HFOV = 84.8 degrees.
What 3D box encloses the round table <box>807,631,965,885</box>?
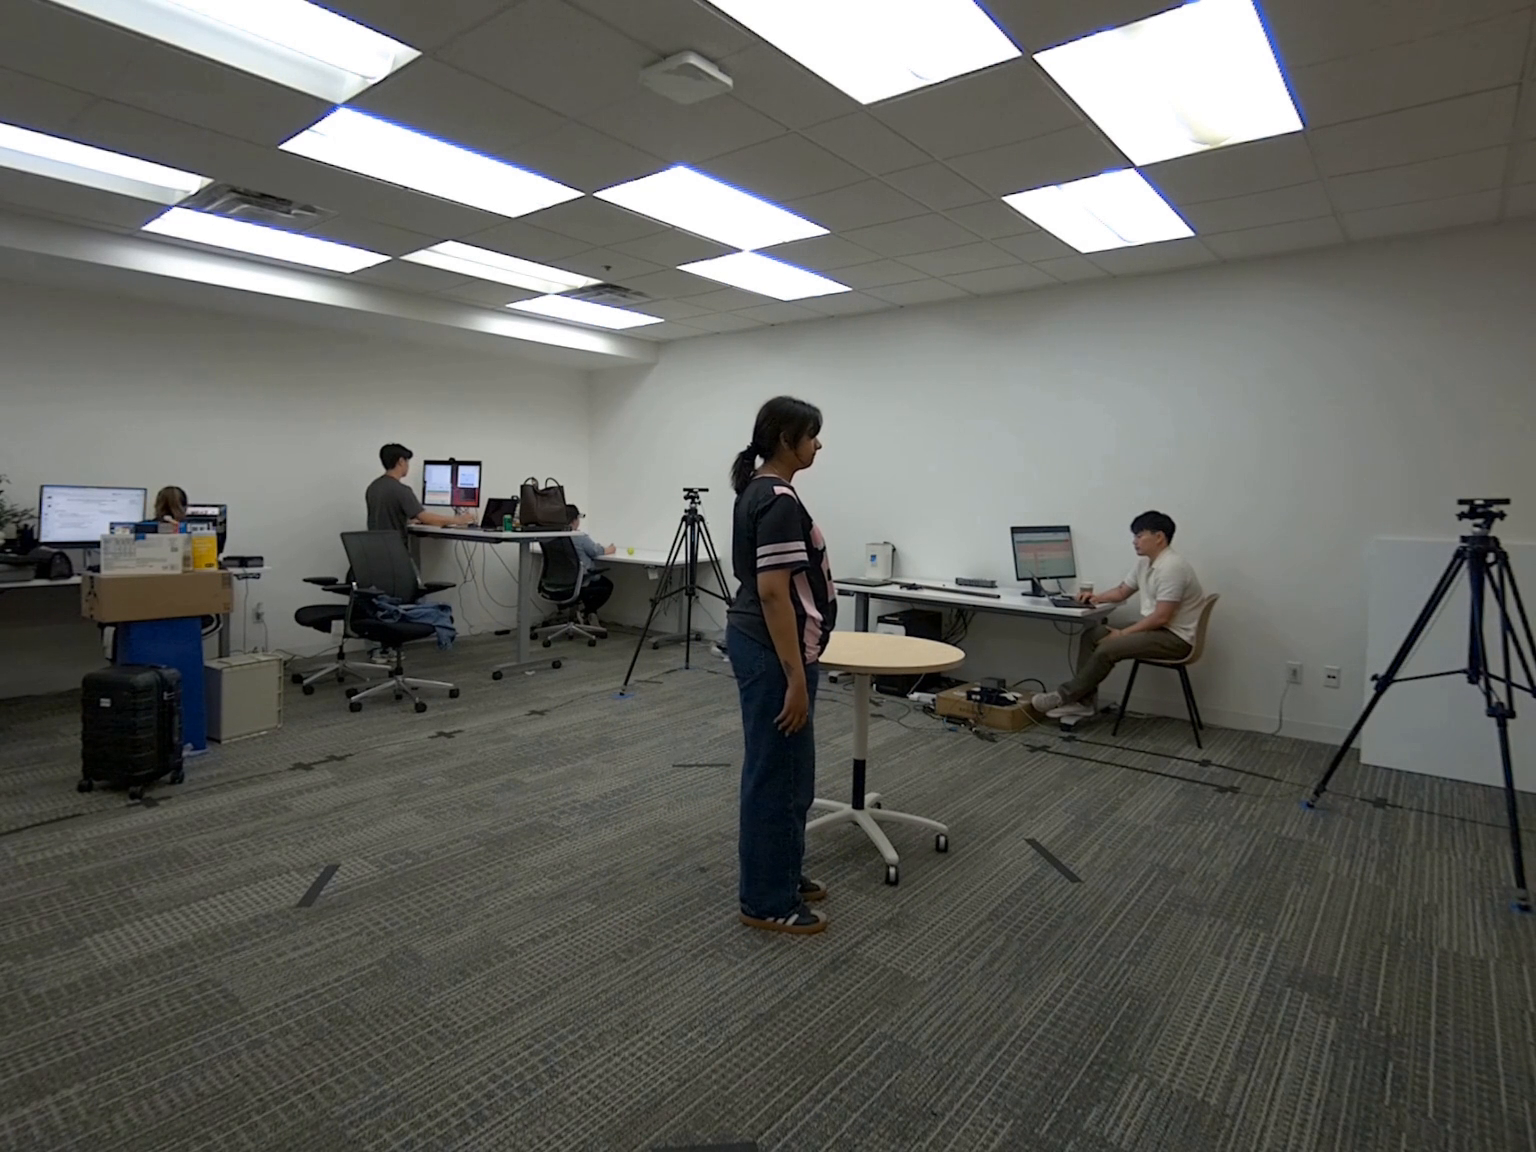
[{"bbox_3d":[0.358,0.666,3.343,0.784,0.784,0.788,1,3,-2],"label":"round table"}]
